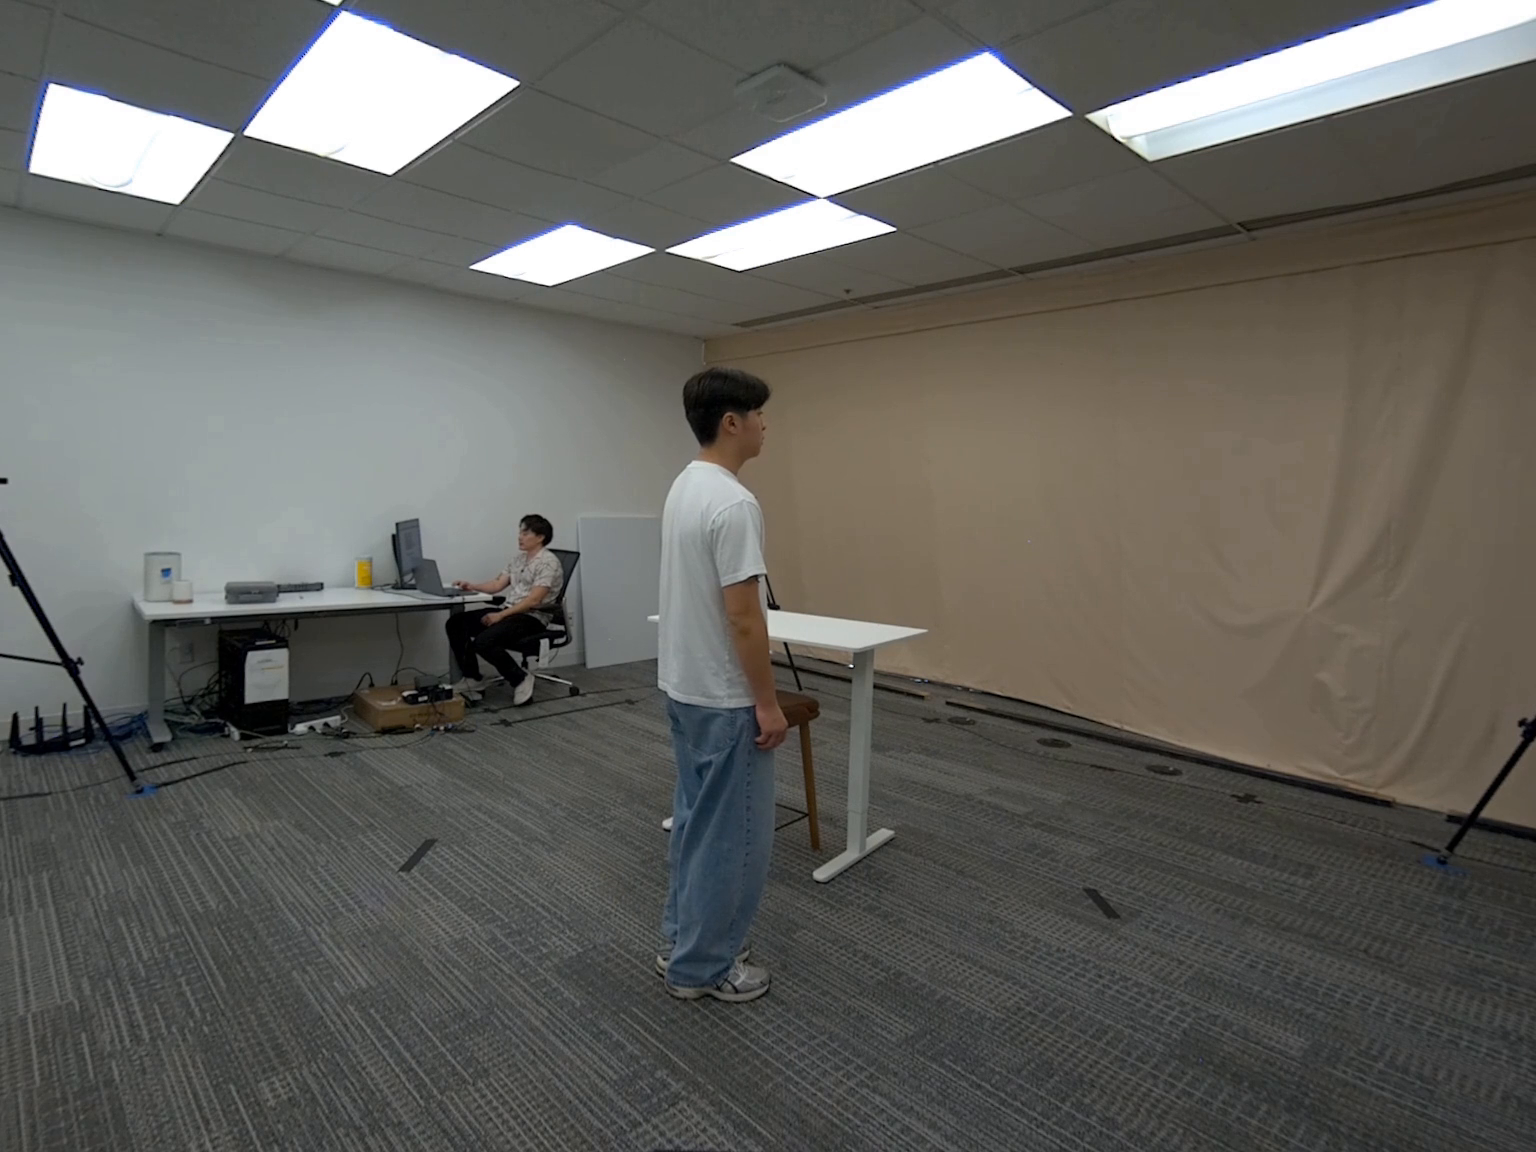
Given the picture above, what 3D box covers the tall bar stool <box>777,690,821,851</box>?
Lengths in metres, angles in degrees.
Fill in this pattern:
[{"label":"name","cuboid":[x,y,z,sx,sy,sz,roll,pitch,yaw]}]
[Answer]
[{"label":"tall bar stool","cuboid":[-0.081,0.664,3.289,0.468,0.886,0.458,4,8,40]}]
